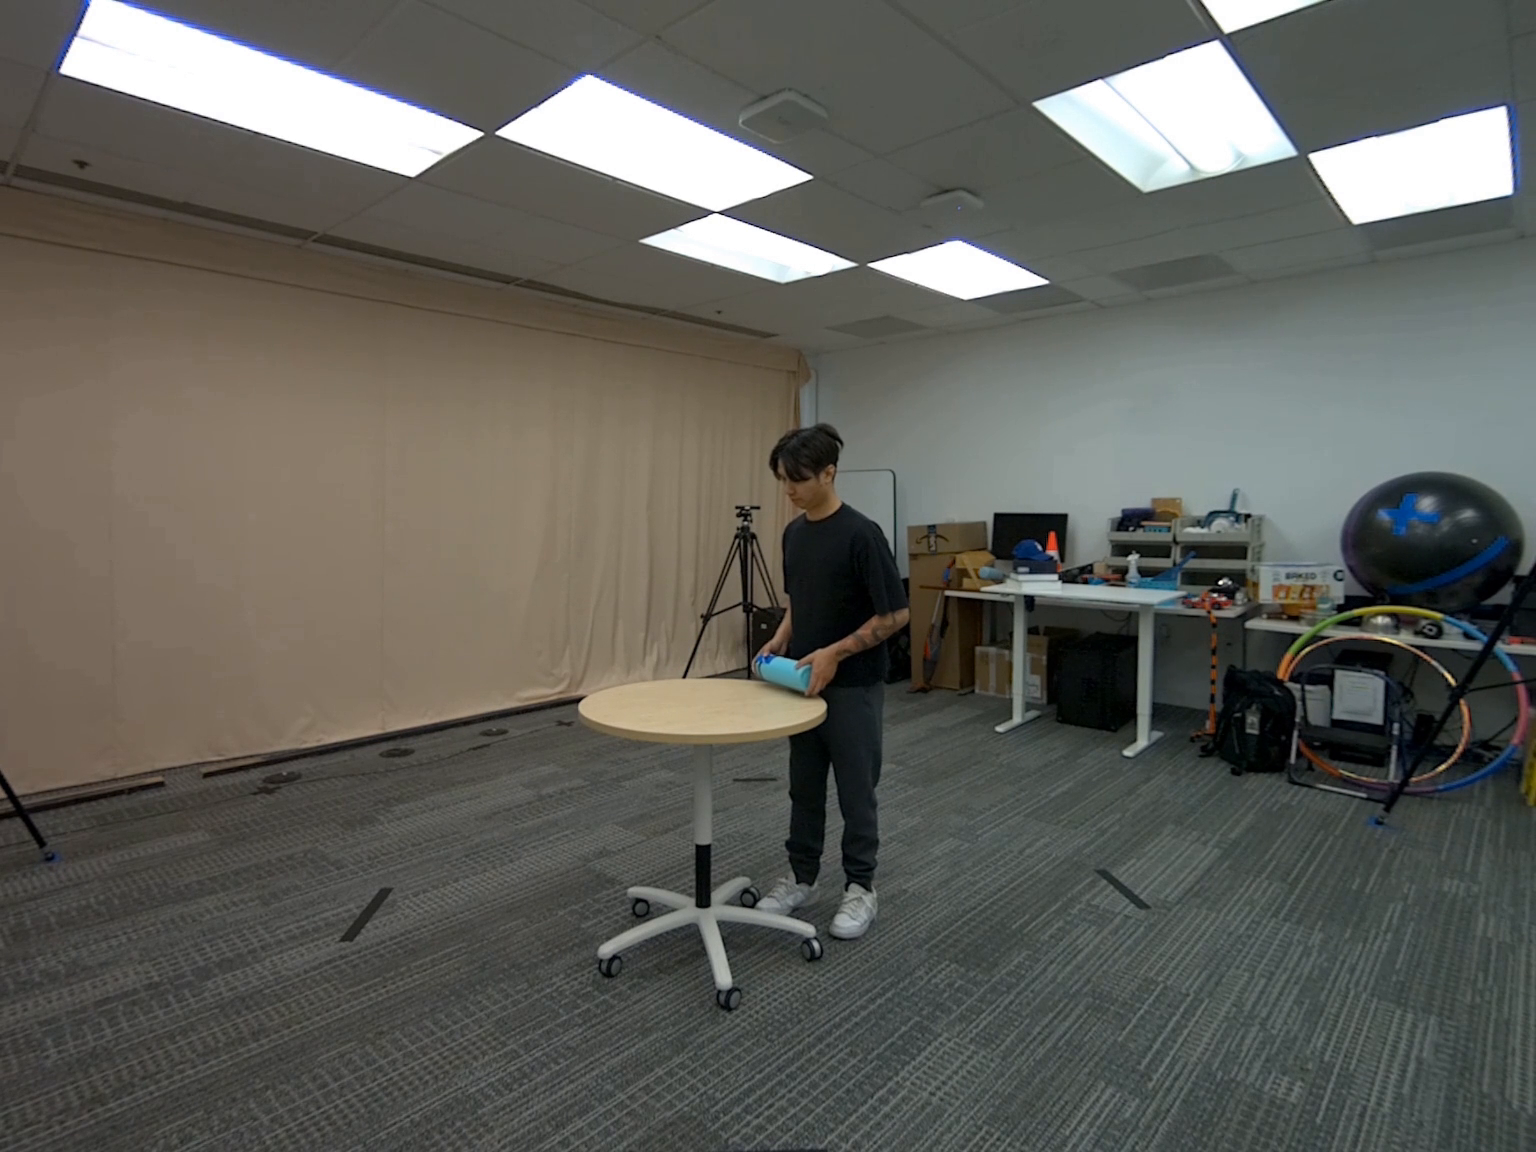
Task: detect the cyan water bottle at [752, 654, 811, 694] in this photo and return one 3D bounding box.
[{"bbox_3d":[0.045,0.315,2.787,0.090,0.092,0.292,-2,5,-35],"label":"cyan water bottle"}]
